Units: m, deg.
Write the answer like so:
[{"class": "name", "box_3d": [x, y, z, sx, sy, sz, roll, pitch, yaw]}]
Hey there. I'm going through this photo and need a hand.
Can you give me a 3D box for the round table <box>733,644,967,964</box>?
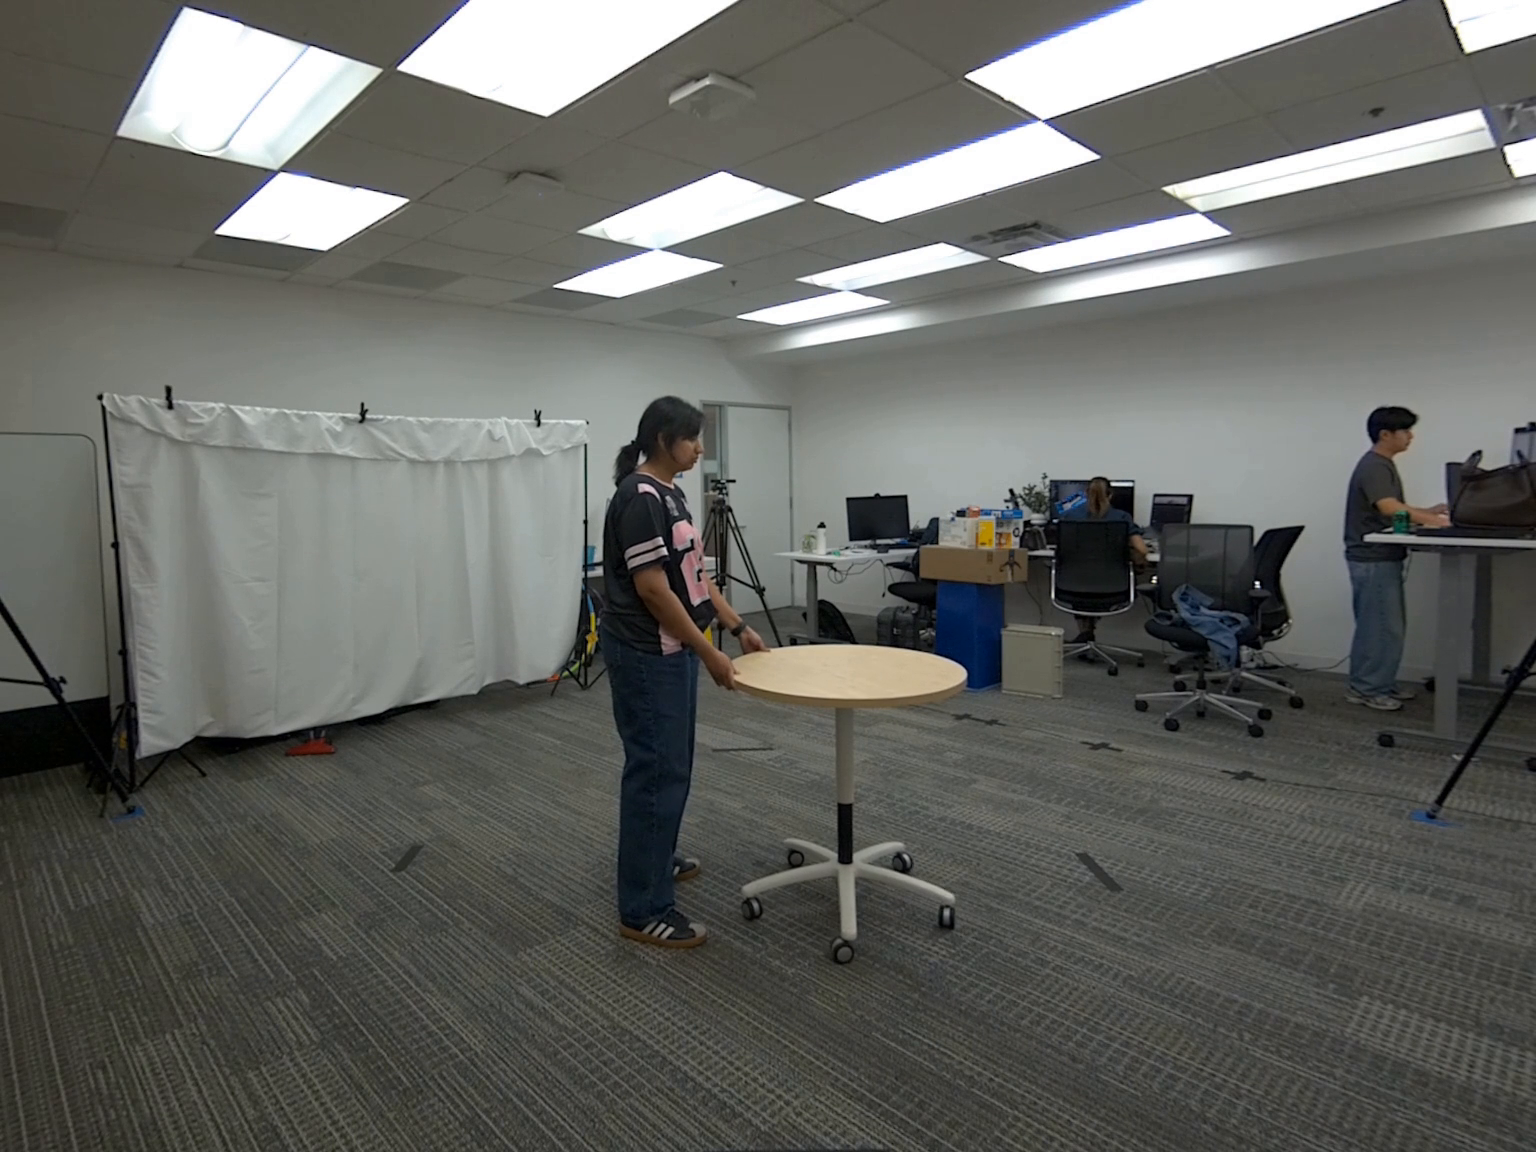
[{"class": "round table", "box_3d": [0.249, 0.685, 2.790, 0.763, 0.791, 0.768, -1, 5, -2]}]
